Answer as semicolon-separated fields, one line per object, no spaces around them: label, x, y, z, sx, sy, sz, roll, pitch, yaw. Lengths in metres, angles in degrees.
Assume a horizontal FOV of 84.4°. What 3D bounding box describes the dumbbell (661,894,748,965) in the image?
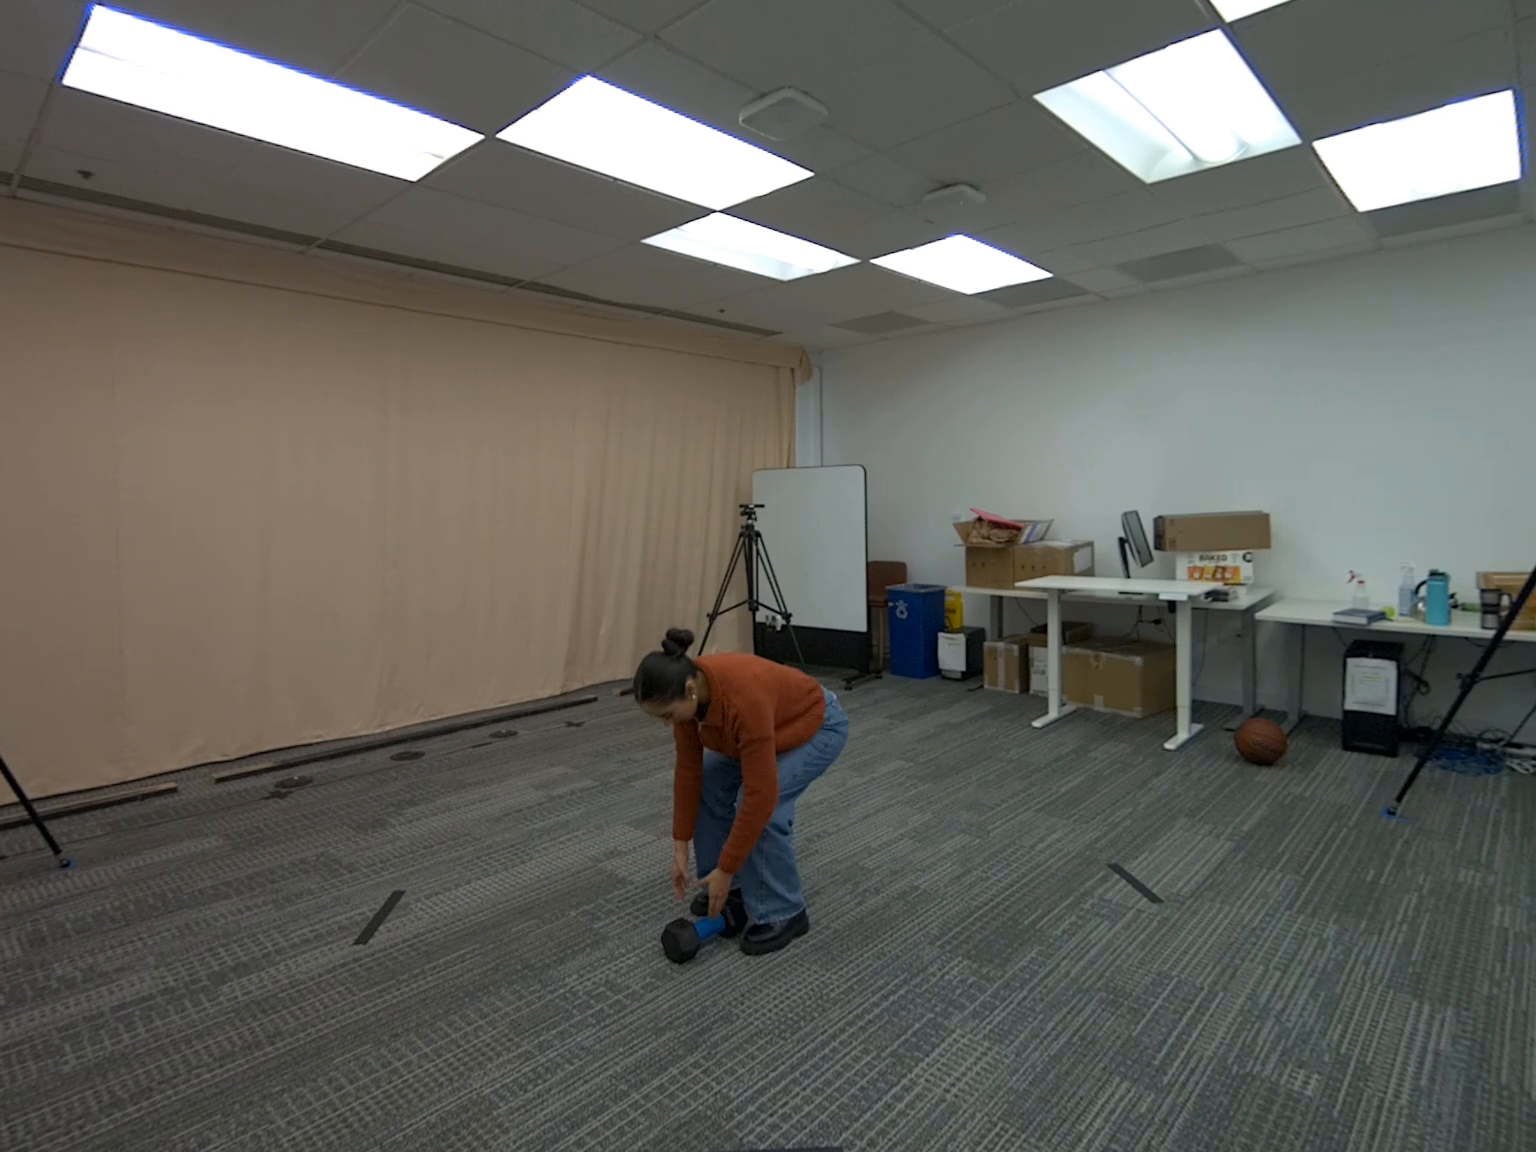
dumbbell;-0.199;1.115;2.674;0.127;0.108;0.284;6;7;43
